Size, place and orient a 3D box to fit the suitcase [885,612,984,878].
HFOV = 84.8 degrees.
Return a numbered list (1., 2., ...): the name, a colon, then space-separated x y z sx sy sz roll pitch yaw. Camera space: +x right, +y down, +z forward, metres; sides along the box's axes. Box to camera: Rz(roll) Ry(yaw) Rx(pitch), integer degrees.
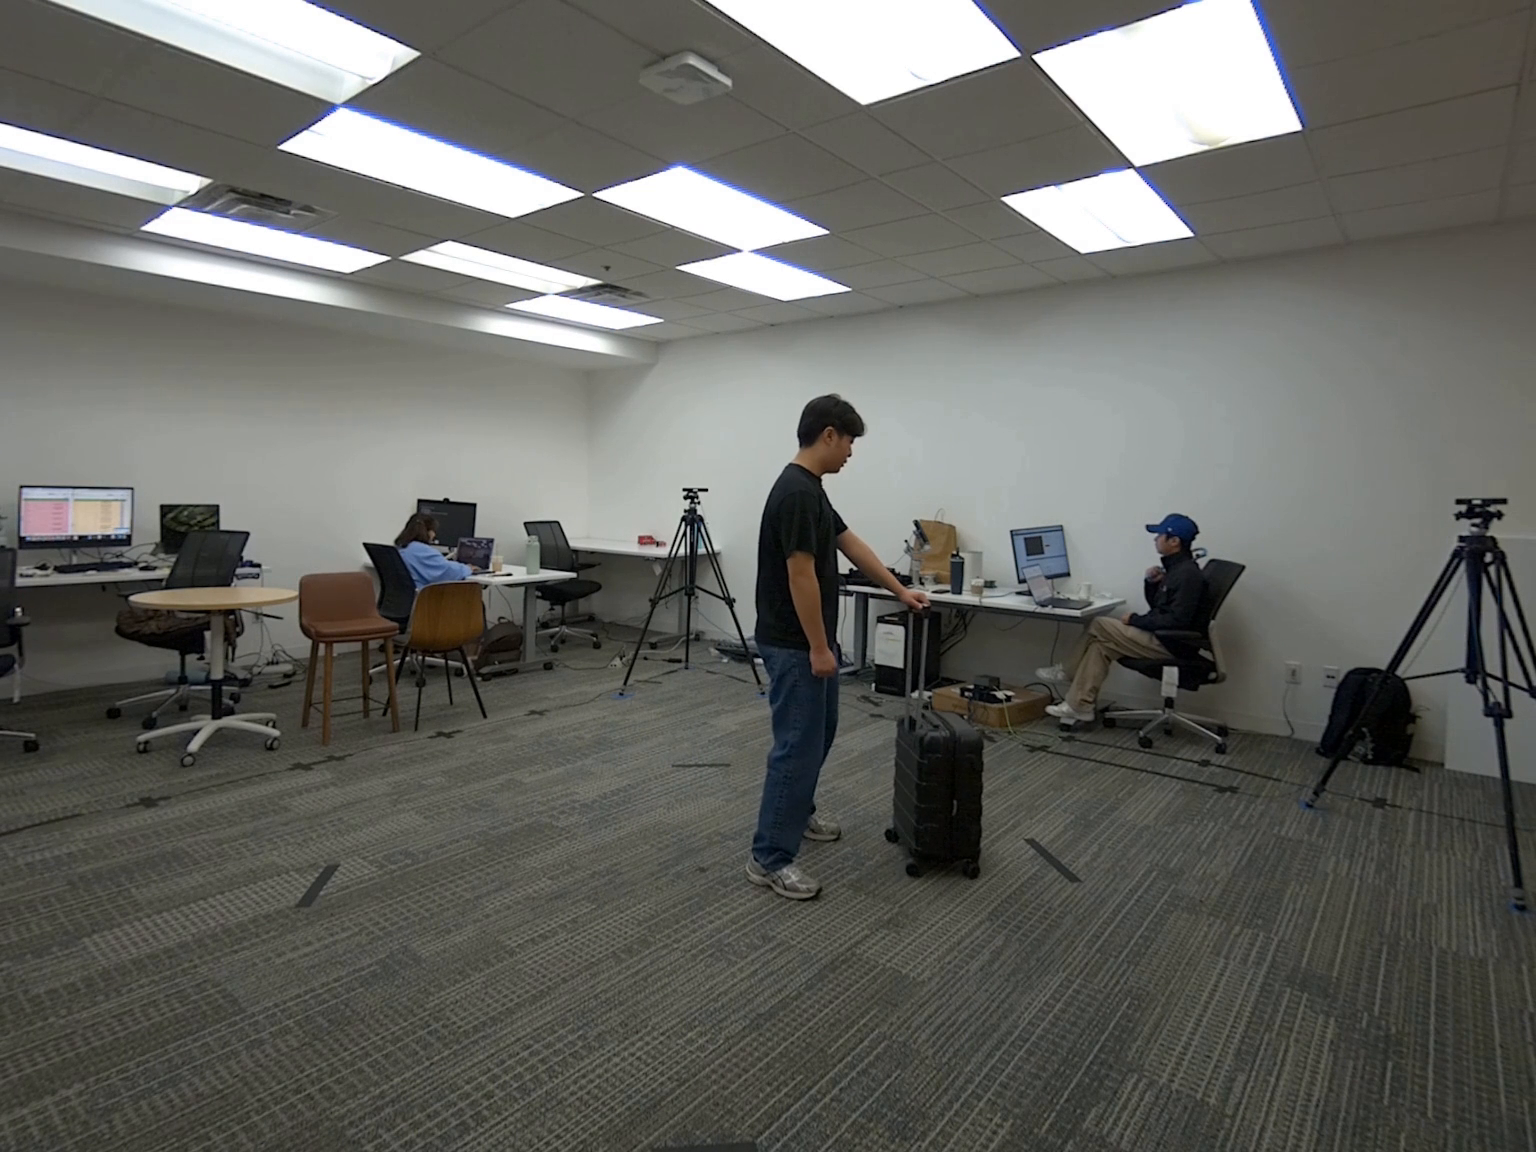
1. suitcase: 0.651 0.603 3.229 0.256 0.976 0.387 3 3 -4
